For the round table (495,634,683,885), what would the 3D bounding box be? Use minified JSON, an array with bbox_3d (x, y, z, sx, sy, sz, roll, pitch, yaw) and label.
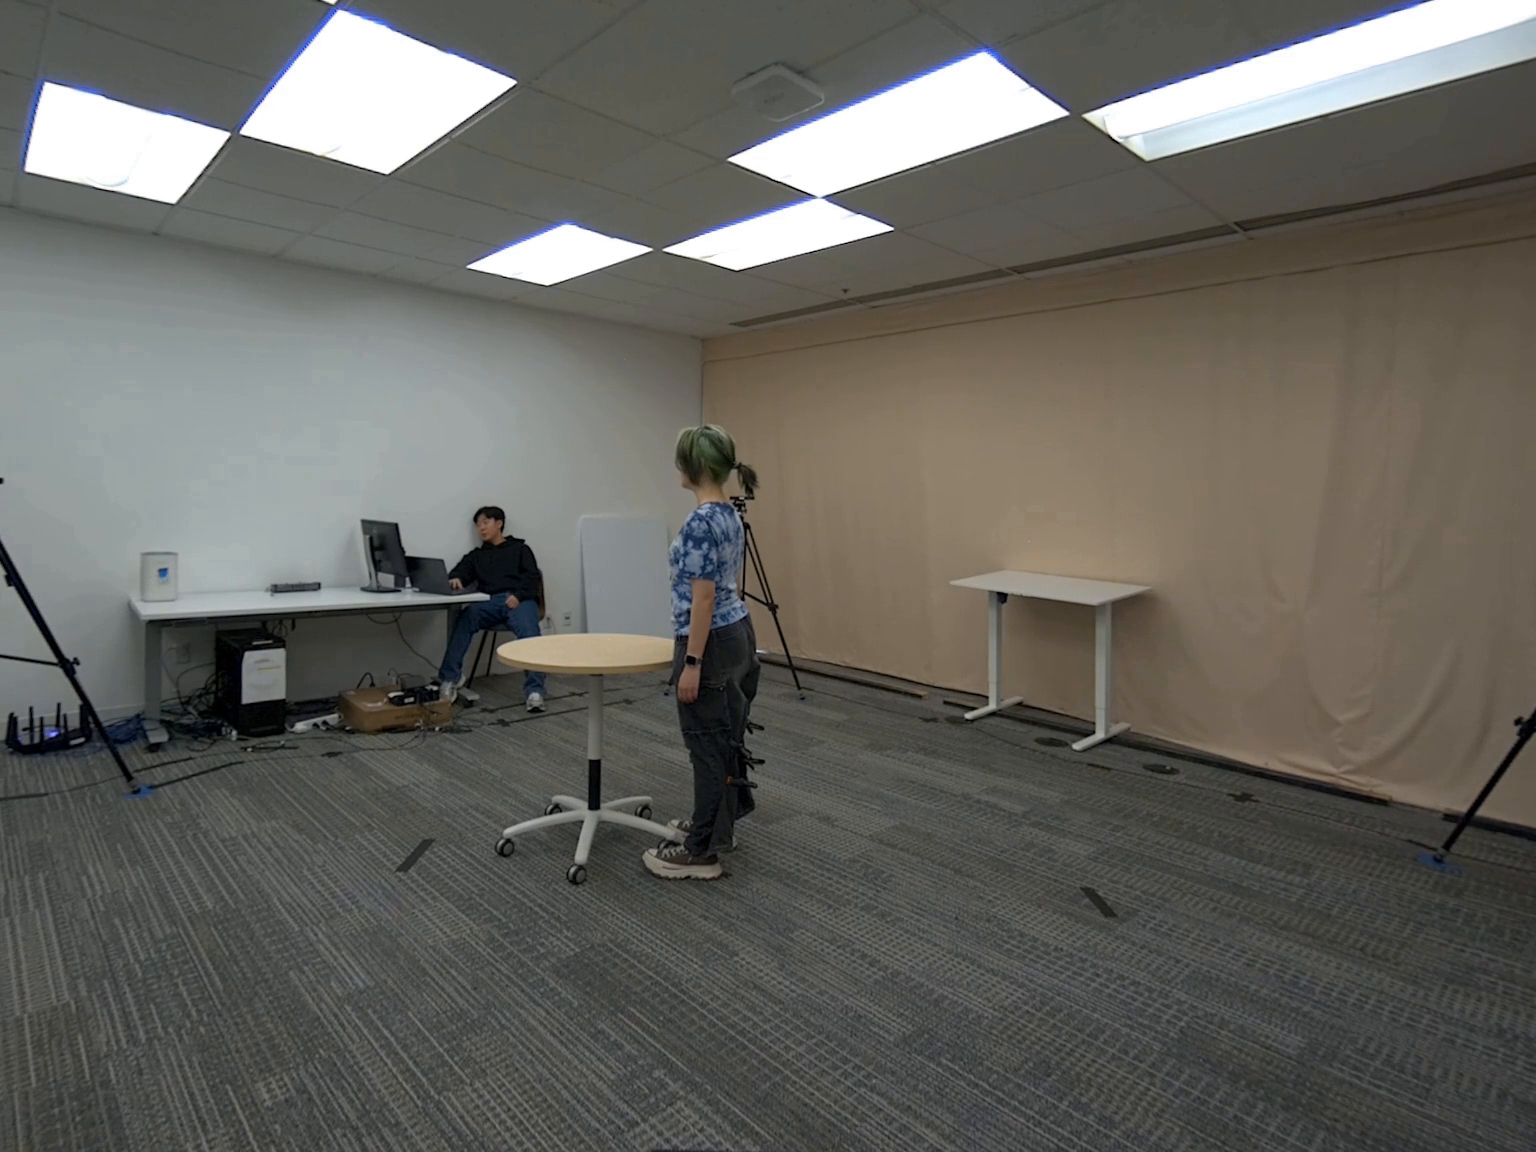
[{"bbox_3d":[-0.681,0.675,3.352,0.784,0.784,0.788,1,4,-1],"label":"round table"}]
